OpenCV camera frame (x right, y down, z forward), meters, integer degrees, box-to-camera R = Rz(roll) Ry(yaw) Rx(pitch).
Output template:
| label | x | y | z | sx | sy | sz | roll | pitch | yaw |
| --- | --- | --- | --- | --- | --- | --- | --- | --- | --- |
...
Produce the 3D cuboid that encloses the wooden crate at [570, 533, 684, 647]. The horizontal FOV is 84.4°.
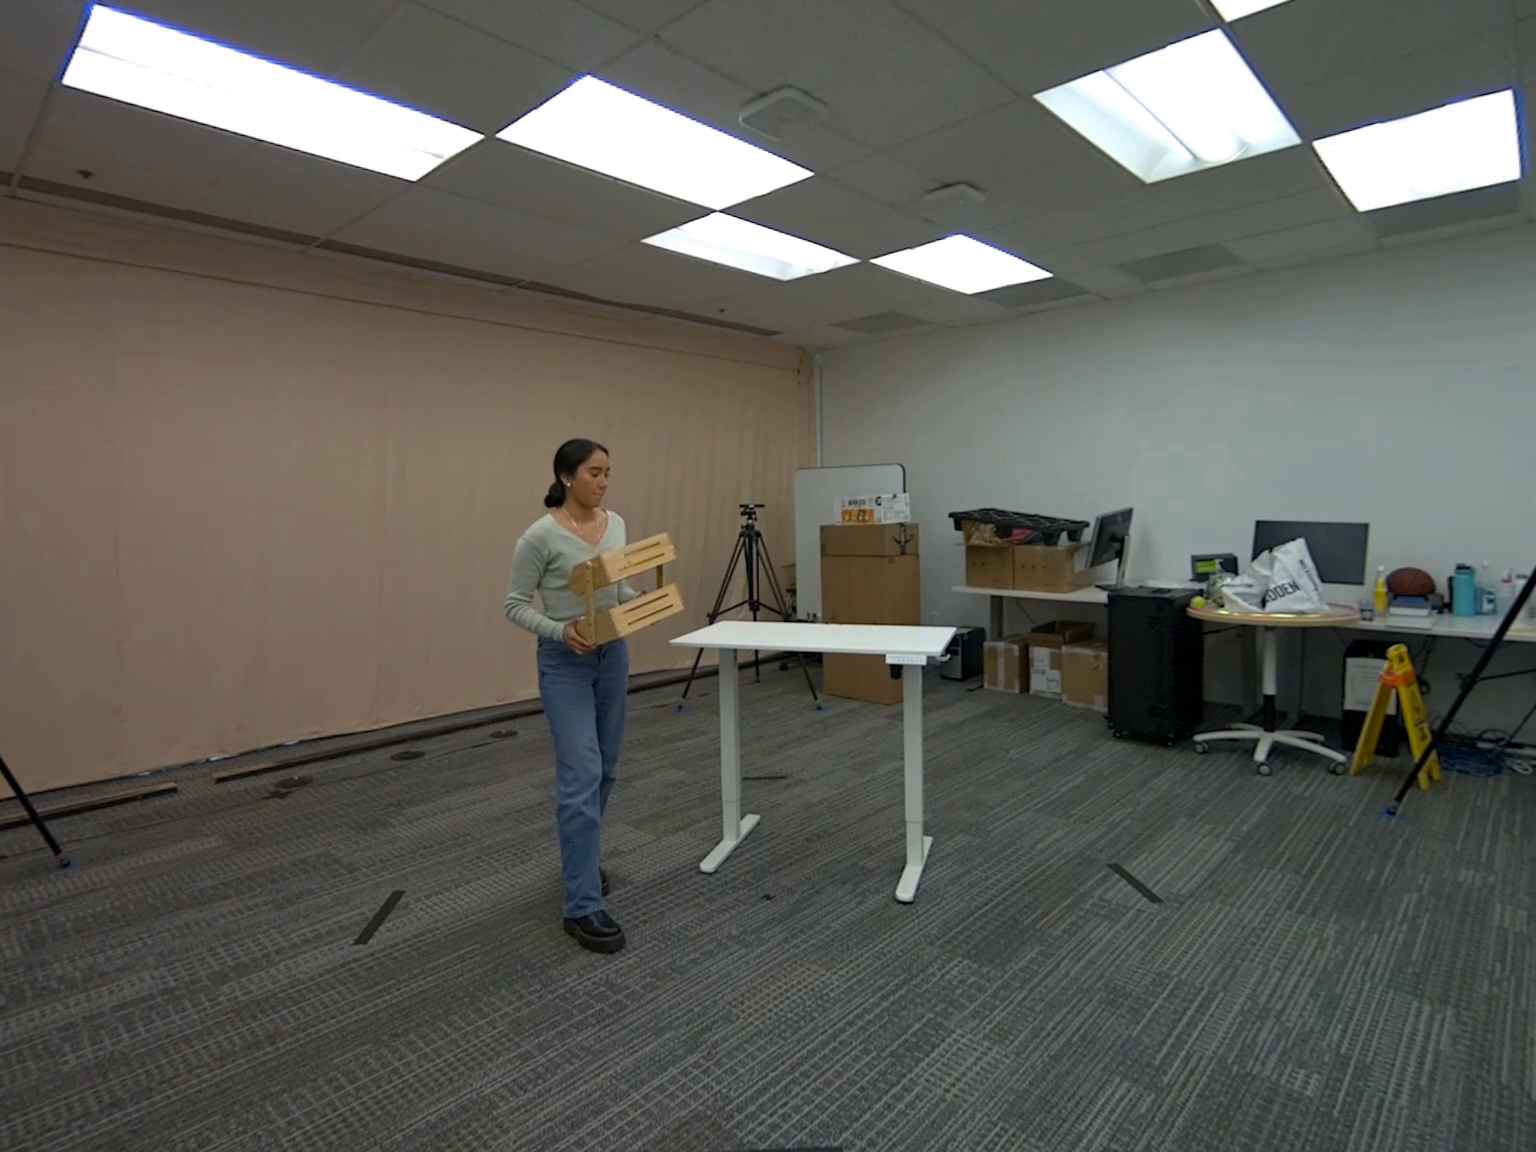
| label | x | y | z | sx | sy | sz | roll | pitch | yaw |
| --- | --- | --- | --- | --- | --- | --- | --- | --- | --- |
| wooden crate | -0.474 | 0.046 | 2.762 | 0.309 | 0.273 | 0.317 | -20 | 2 | 43 |
